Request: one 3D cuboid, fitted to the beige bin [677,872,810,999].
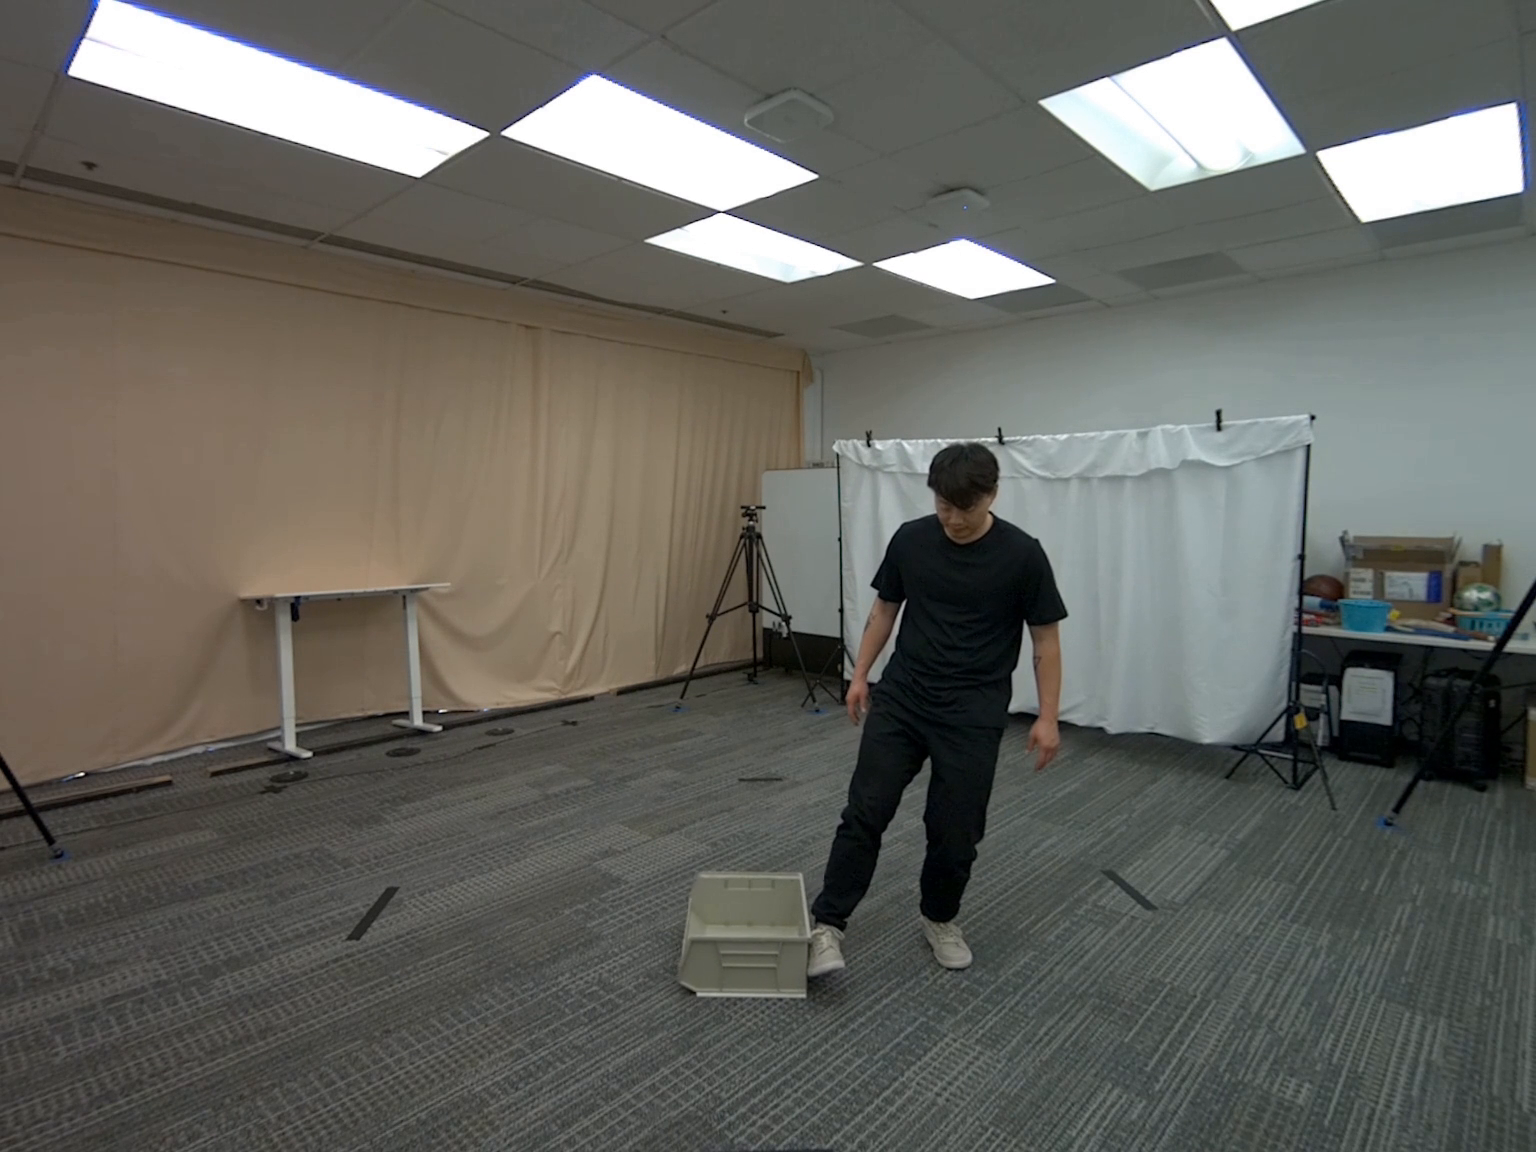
[{"bbox_3d":[-0.066,1.094,2.577,0.378,0.188,0.423,0,3,0],"label":"beige bin"}]
